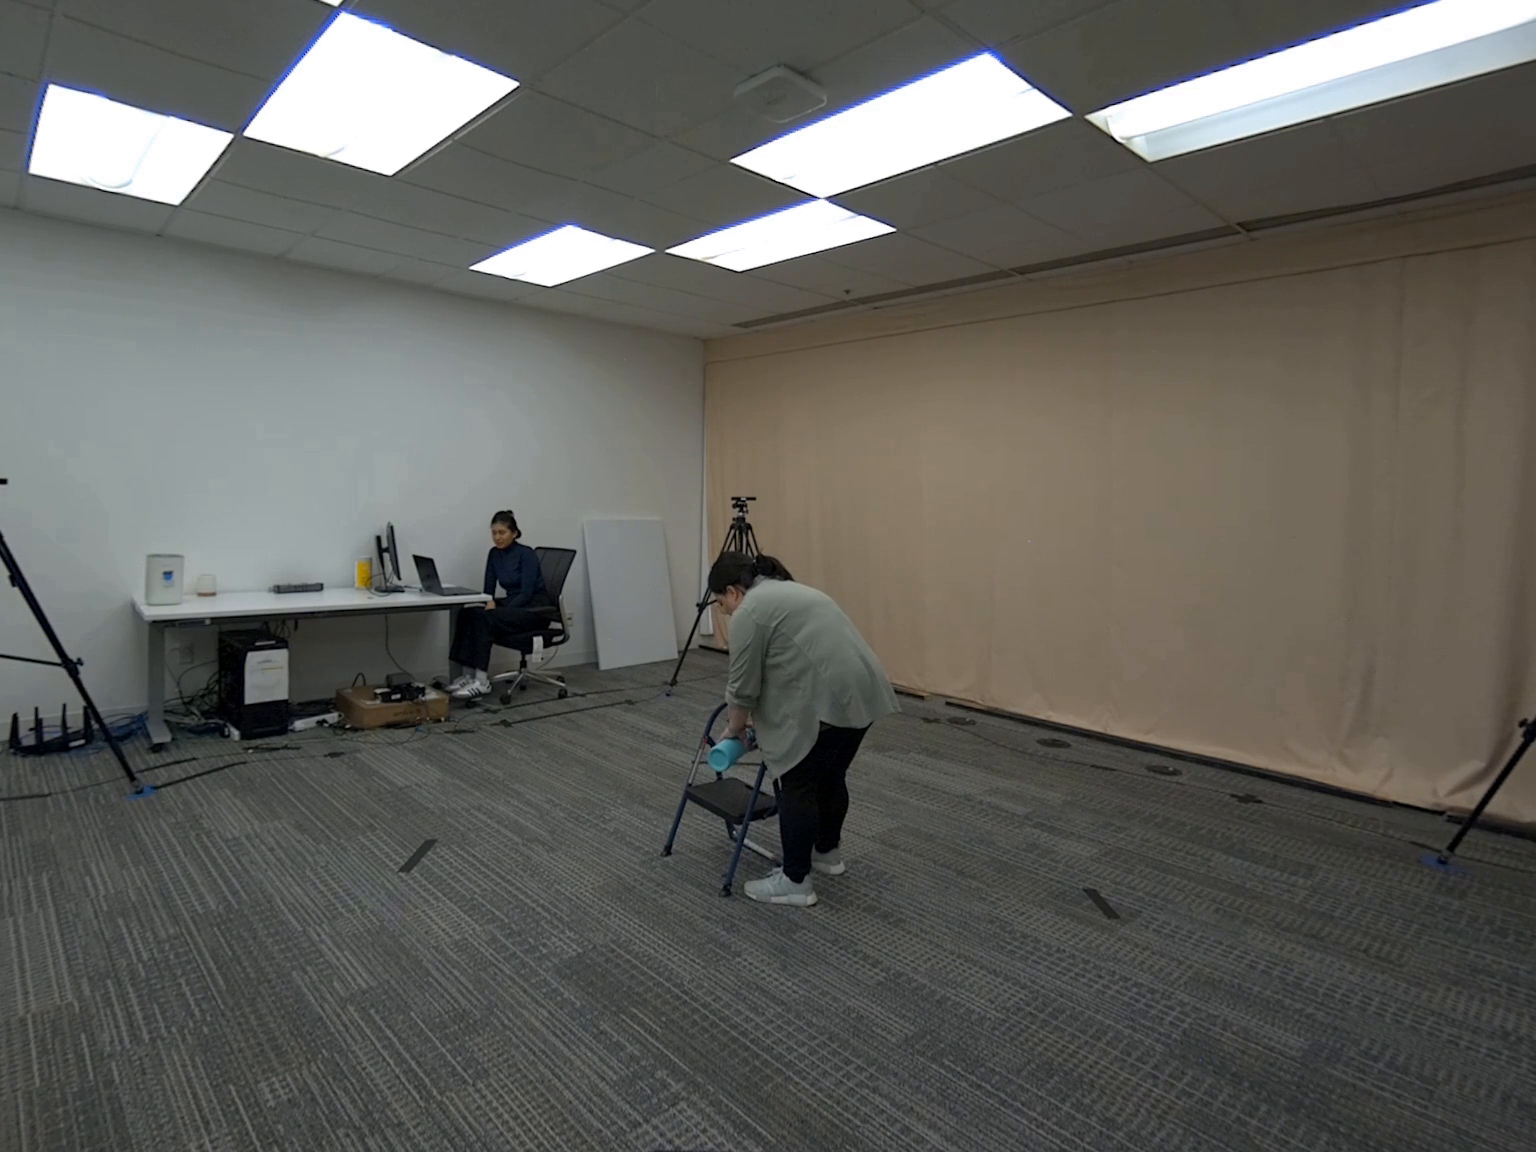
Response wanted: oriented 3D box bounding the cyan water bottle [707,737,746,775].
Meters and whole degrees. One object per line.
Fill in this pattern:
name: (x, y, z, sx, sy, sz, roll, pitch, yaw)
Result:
cyan water bottle: (-0.121, 0.626, 3.078, 0.094, 0.092, 0.280, 3, 7, 20)
